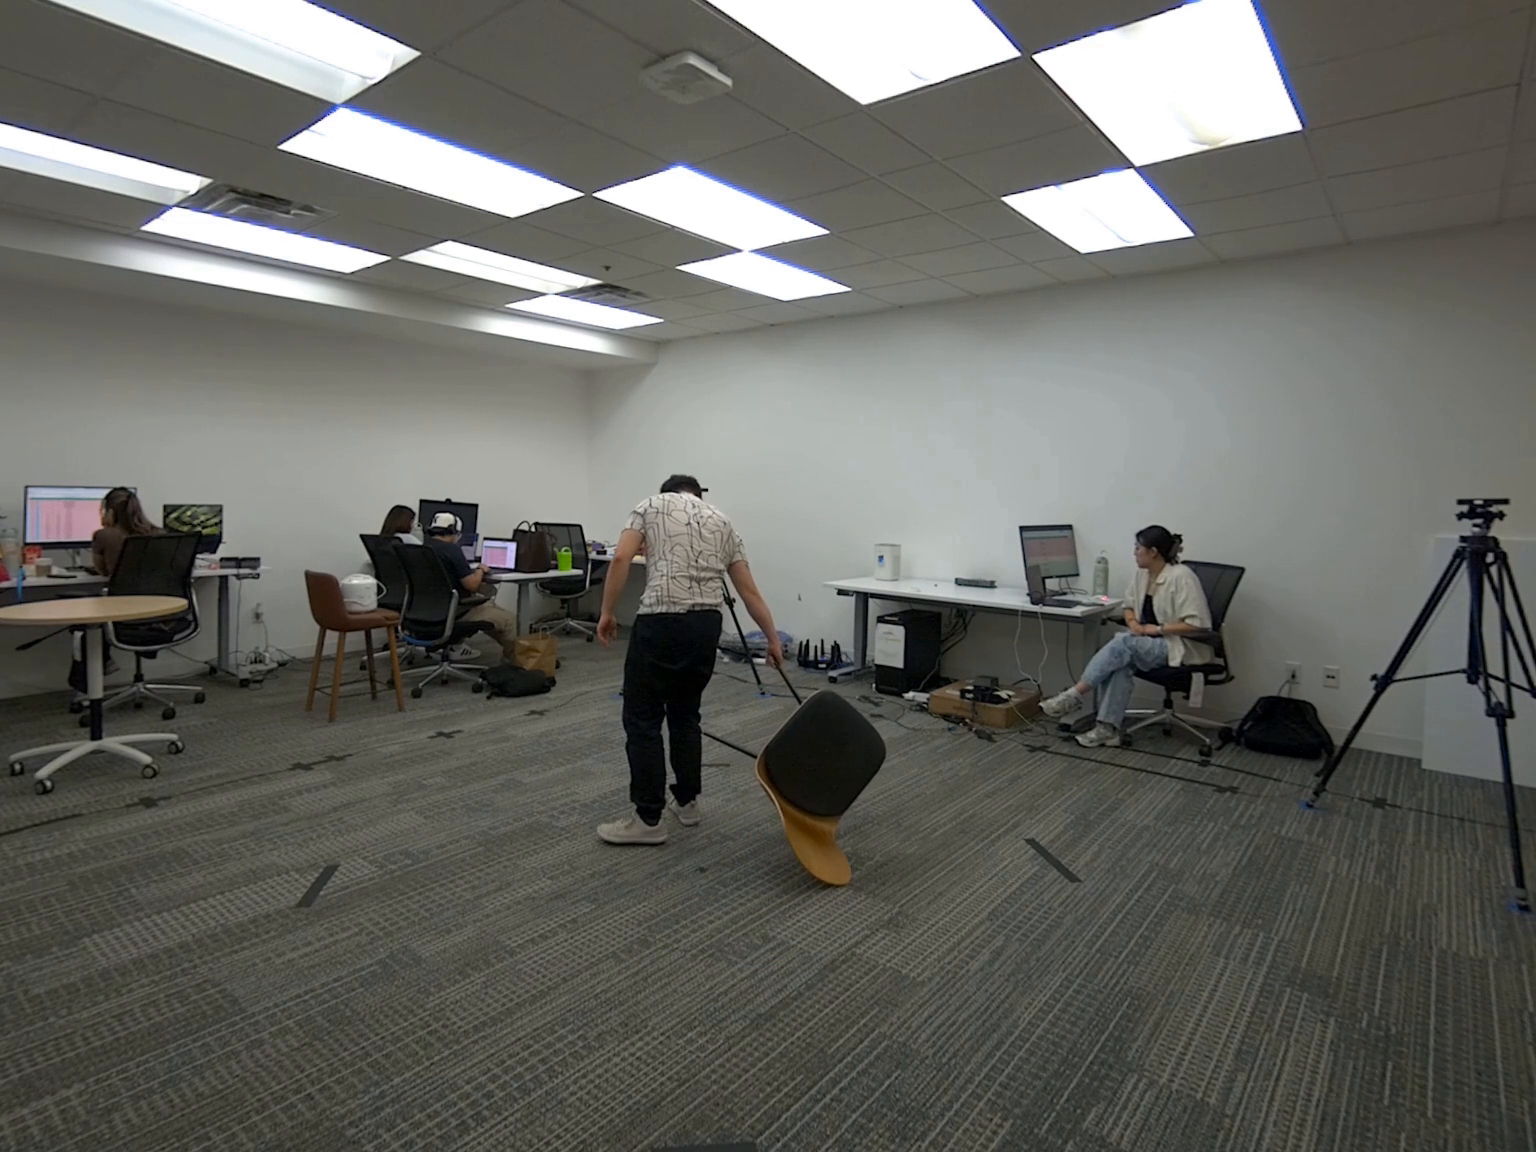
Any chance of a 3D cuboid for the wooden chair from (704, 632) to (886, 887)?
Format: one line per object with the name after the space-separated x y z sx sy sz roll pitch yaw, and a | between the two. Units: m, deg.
0.174 0.731 3.351 0.465 0.523 0.902 45 -3 -22 | wooden chair
